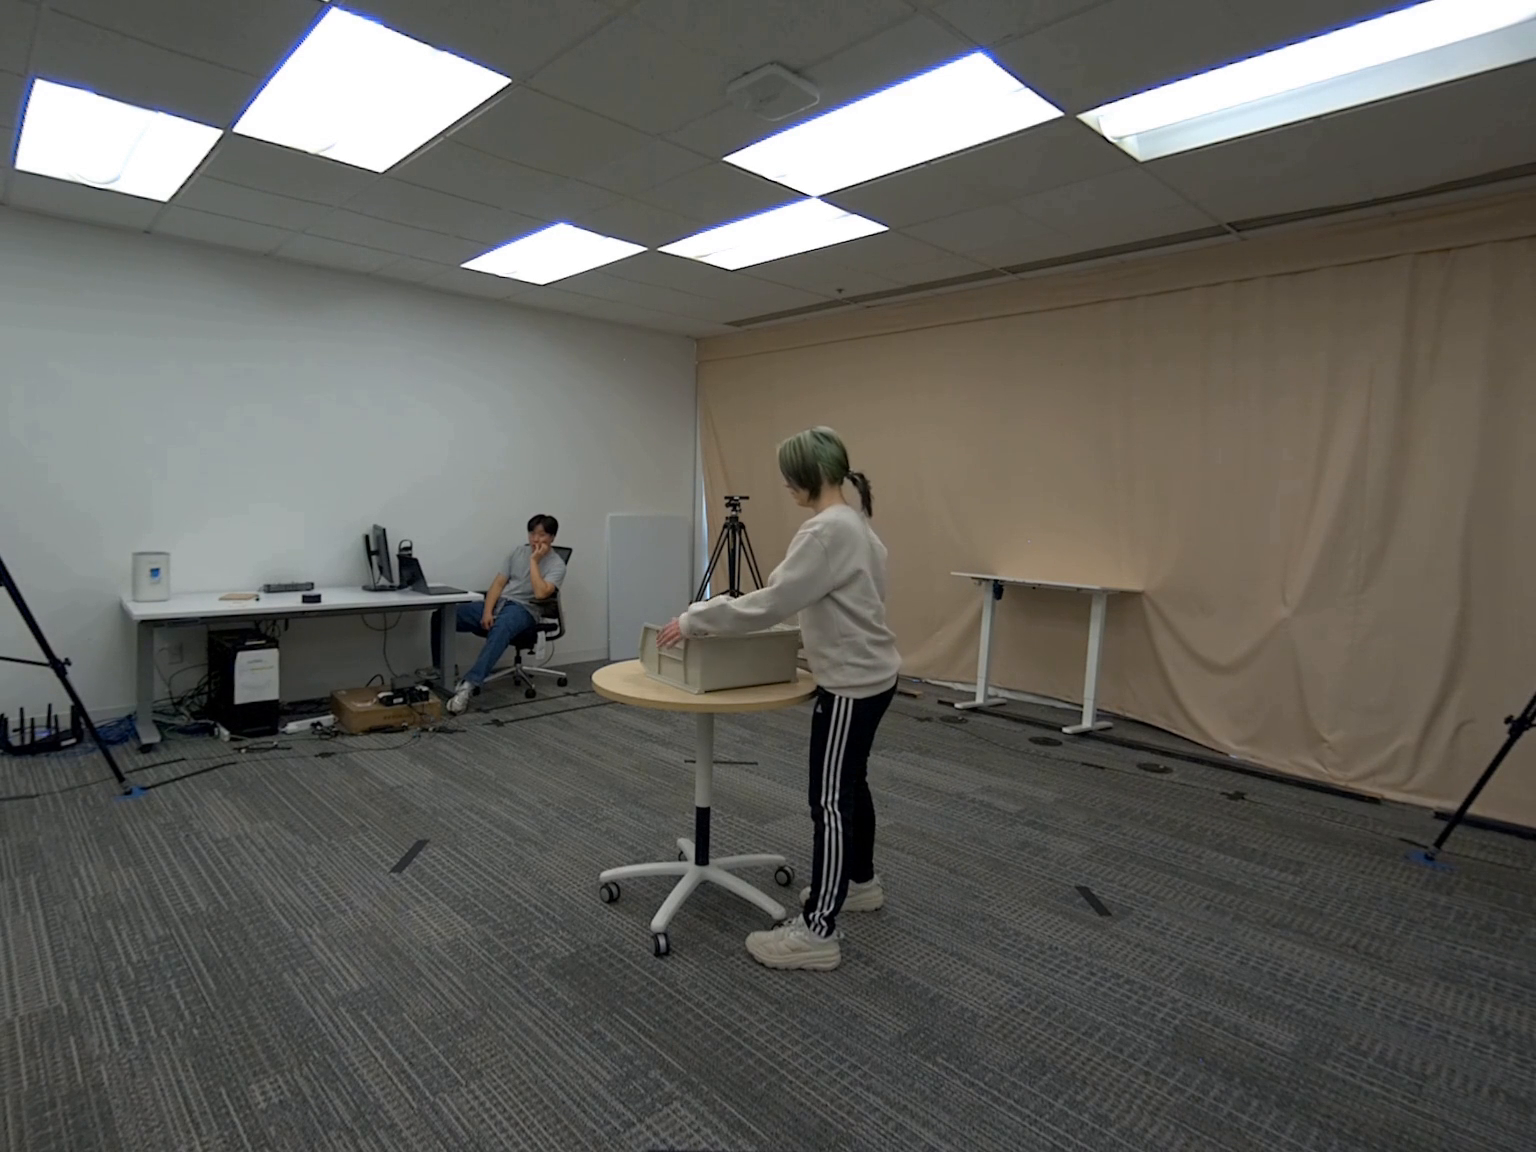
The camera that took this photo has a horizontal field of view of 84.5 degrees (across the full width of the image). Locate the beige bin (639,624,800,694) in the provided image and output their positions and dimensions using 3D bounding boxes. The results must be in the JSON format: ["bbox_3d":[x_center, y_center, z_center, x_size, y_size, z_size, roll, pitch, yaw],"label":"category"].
[{"bbox_3d":[-0.164,0.254,2.828,0.413,0.188,0.387,-2,6,-36],"label":"beige bin"}]
